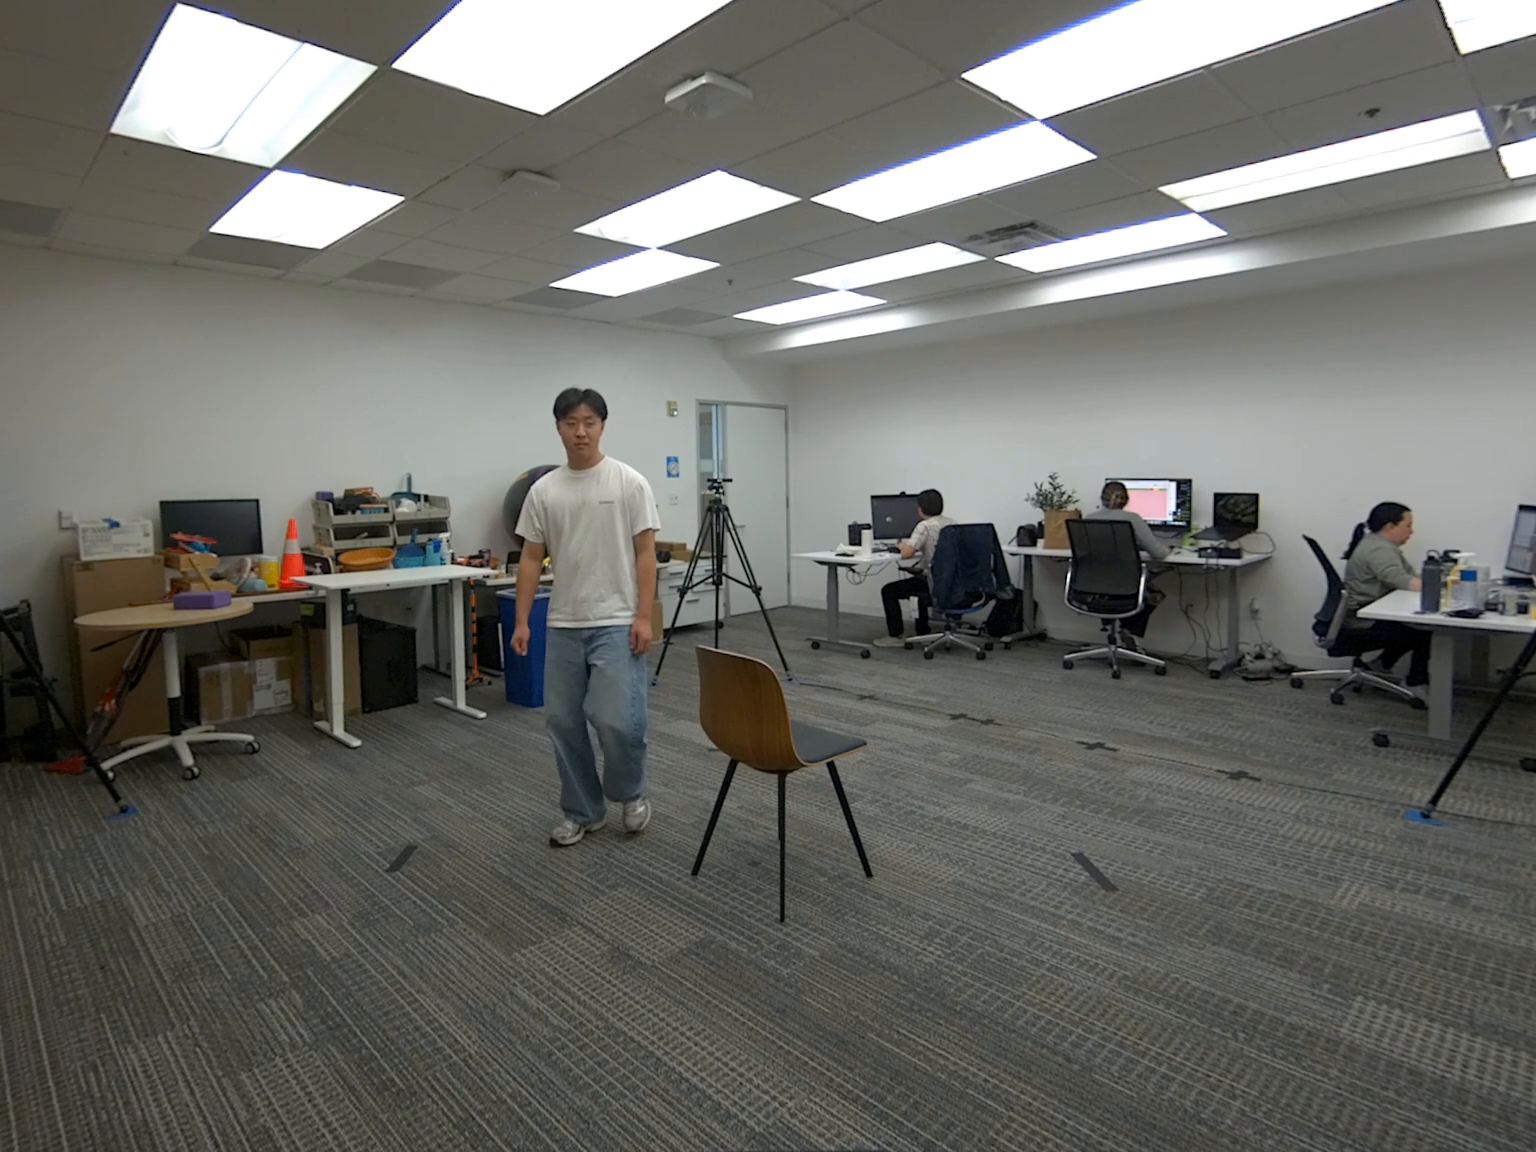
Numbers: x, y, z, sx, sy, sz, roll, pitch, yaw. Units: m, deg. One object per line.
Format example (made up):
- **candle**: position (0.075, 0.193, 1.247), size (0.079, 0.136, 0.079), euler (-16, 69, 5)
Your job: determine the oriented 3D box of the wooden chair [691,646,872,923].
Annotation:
- **wooden chair**: position (0.048, 0.634, 2.969), size (0.511, 0.871, 0.493), euler (-10, 10, -42)
